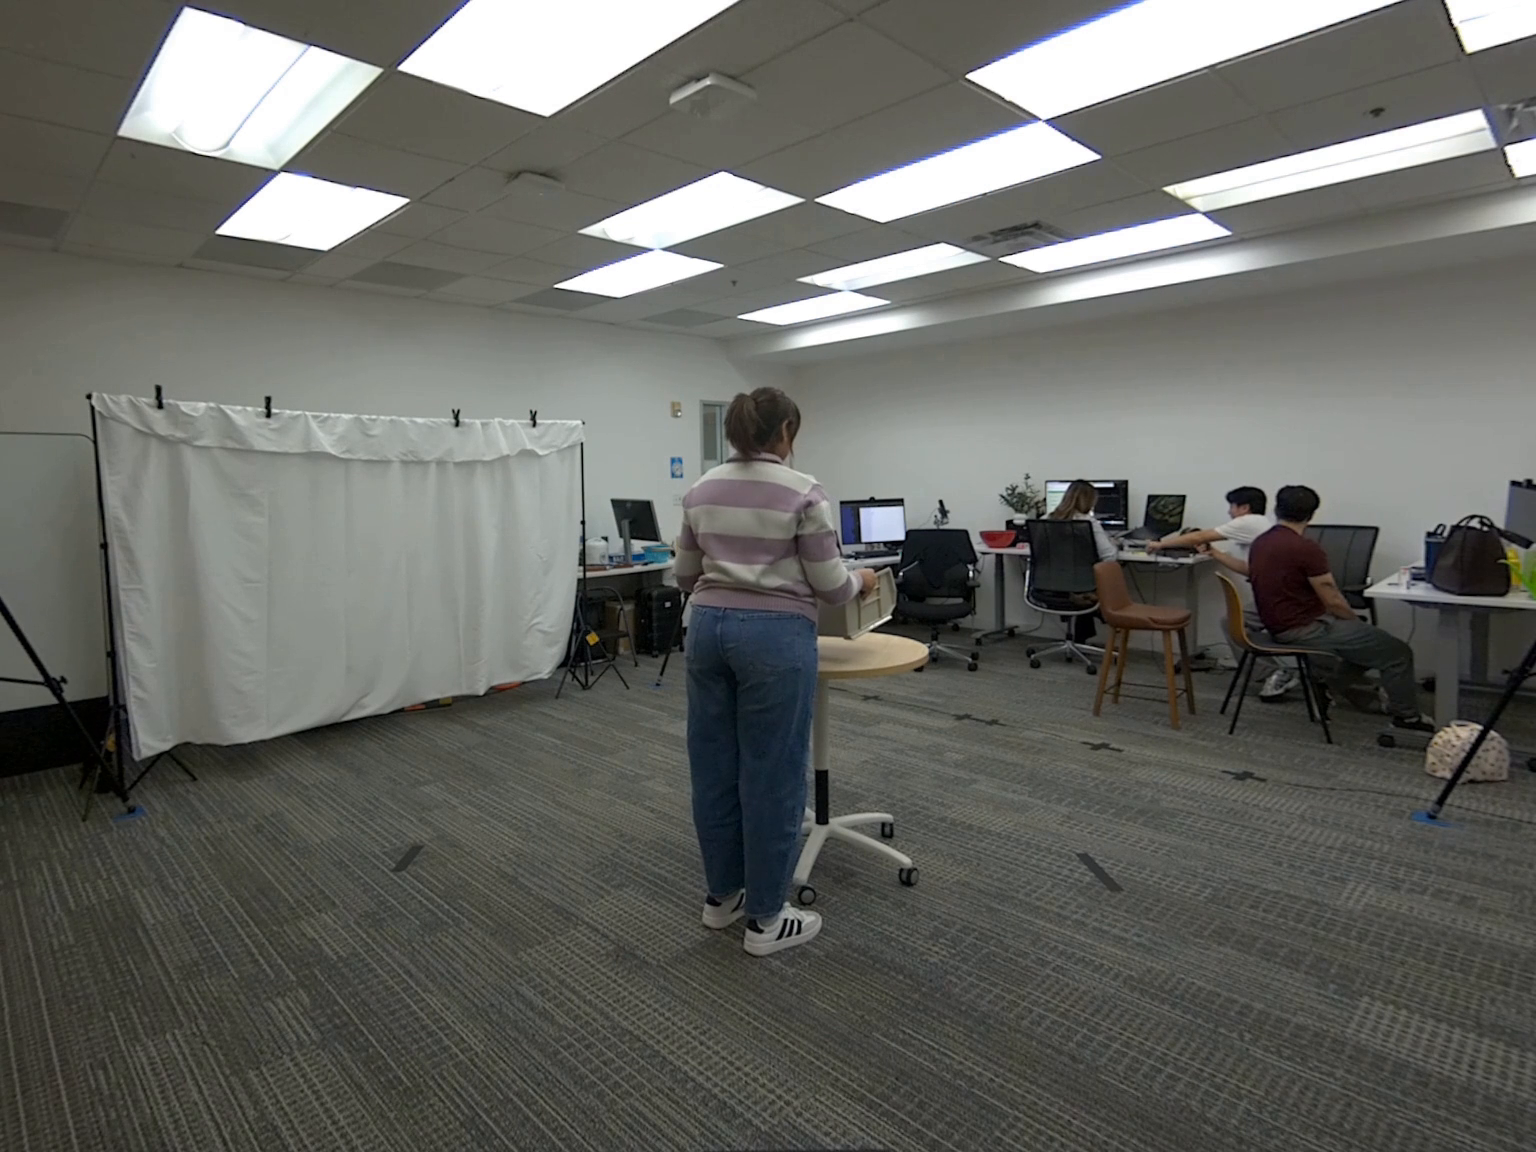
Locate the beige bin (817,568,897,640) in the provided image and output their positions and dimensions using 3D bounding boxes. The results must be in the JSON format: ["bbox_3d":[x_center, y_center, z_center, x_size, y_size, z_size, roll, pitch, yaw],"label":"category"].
[{"bbox_3d":[0.184,0.087,3.004,0.434,0.187,0.370,0,11,33],"label":"beige bin"}]
